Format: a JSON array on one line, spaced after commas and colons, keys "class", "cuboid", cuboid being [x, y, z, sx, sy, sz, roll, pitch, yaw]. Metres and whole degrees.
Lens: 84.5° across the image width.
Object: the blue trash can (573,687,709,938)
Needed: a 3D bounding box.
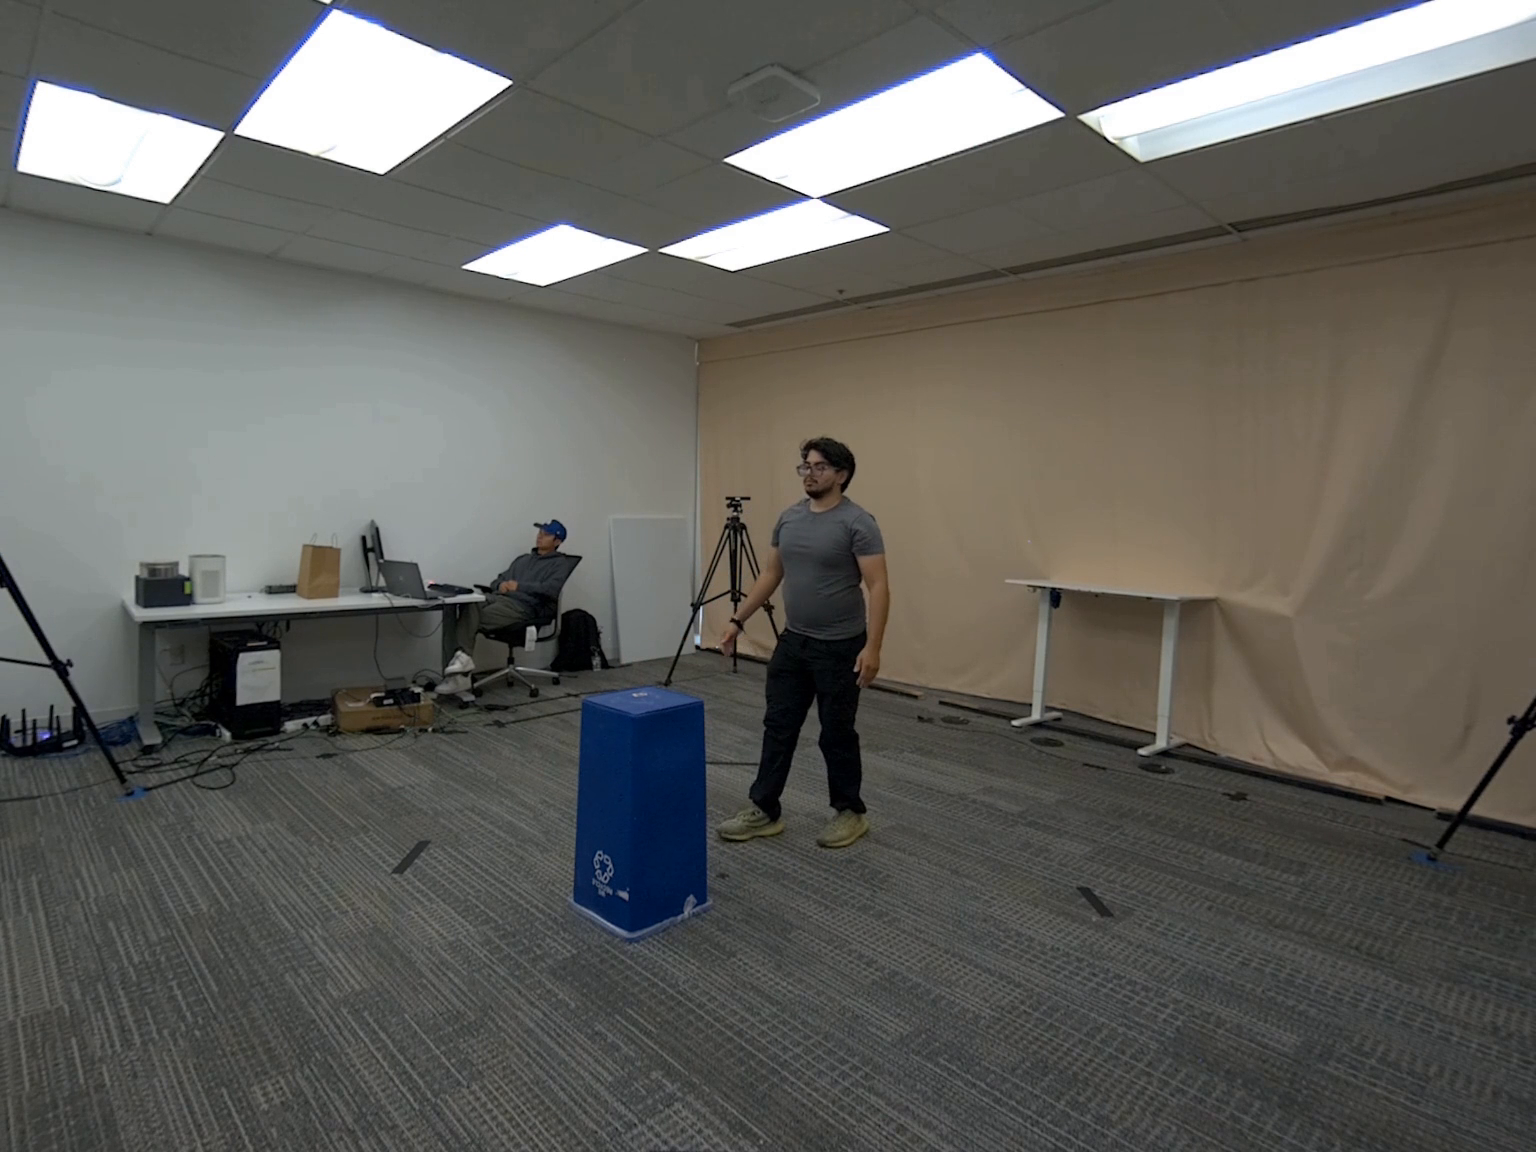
[{"class": "blue trash can", "cuboid": [-0.440, 0.770, 2.857, 0.383, 0.712, 0.369, 3, 4, 45]}]
